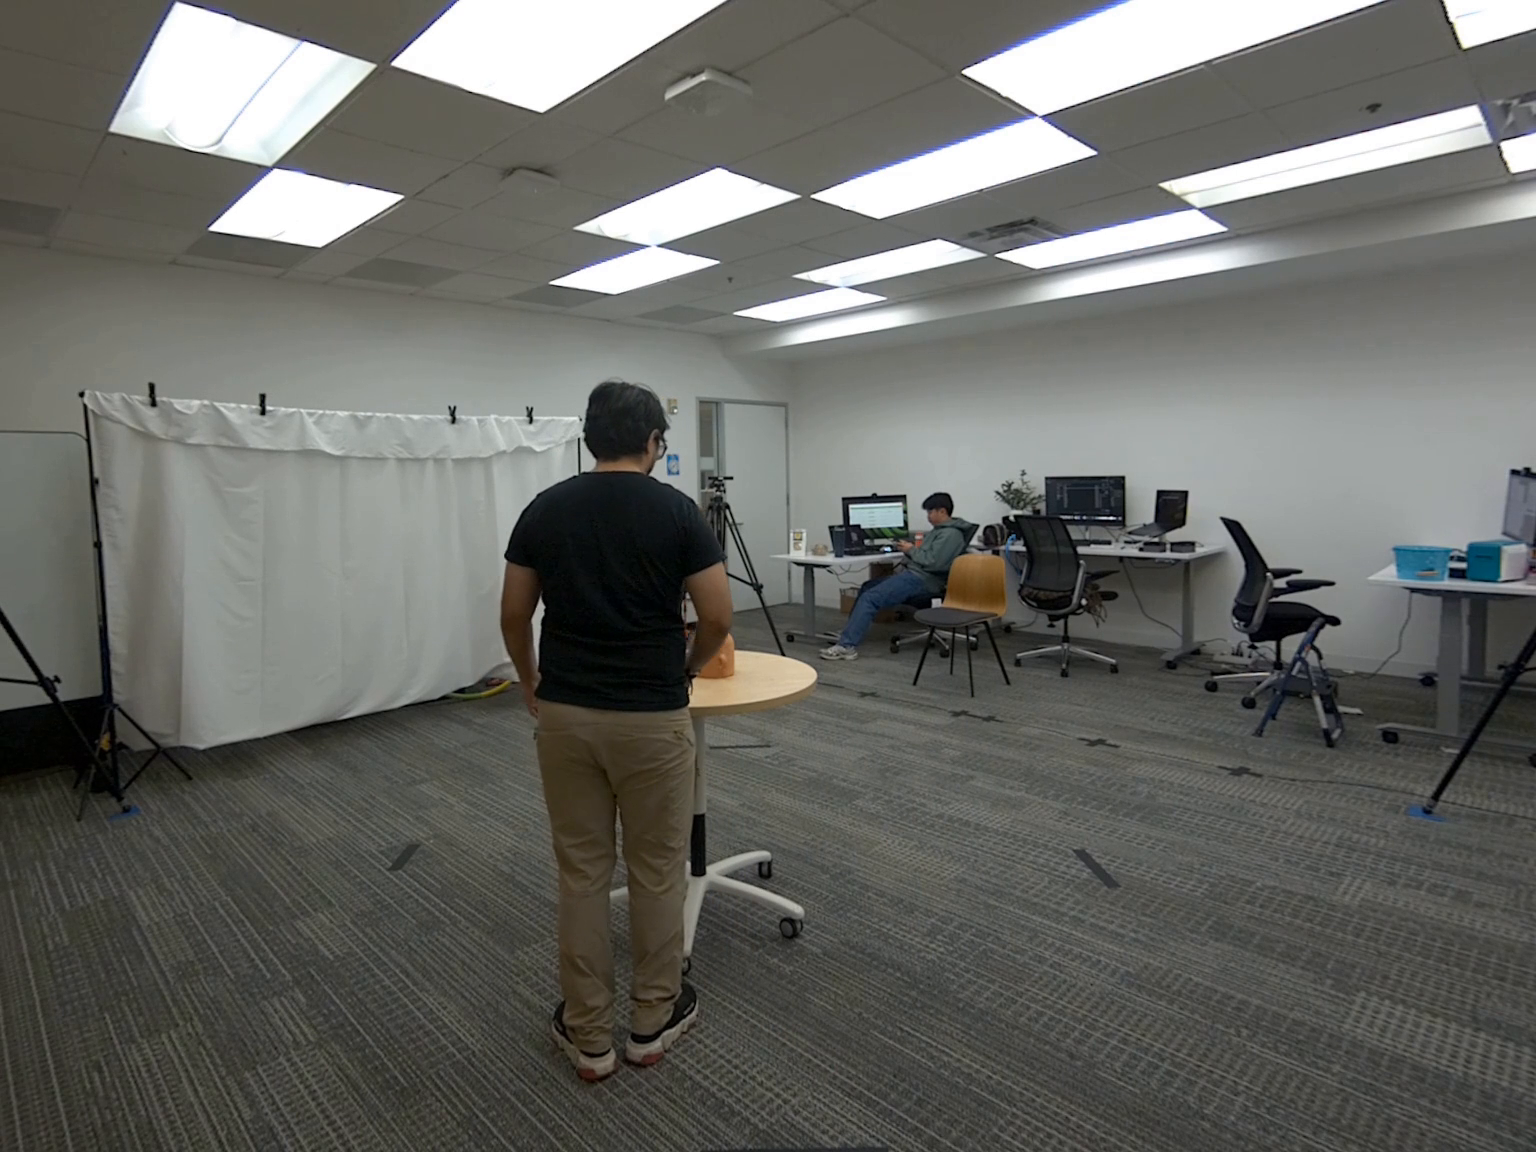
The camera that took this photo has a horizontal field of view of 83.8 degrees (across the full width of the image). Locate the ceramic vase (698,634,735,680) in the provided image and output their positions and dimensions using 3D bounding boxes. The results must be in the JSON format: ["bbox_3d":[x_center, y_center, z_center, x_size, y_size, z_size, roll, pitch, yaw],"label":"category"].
[{"bbox_3d":[-0.167,0.200,2.665,0.163,0.219,0.132,1,5,28],"label":"ceramic vase"}]
